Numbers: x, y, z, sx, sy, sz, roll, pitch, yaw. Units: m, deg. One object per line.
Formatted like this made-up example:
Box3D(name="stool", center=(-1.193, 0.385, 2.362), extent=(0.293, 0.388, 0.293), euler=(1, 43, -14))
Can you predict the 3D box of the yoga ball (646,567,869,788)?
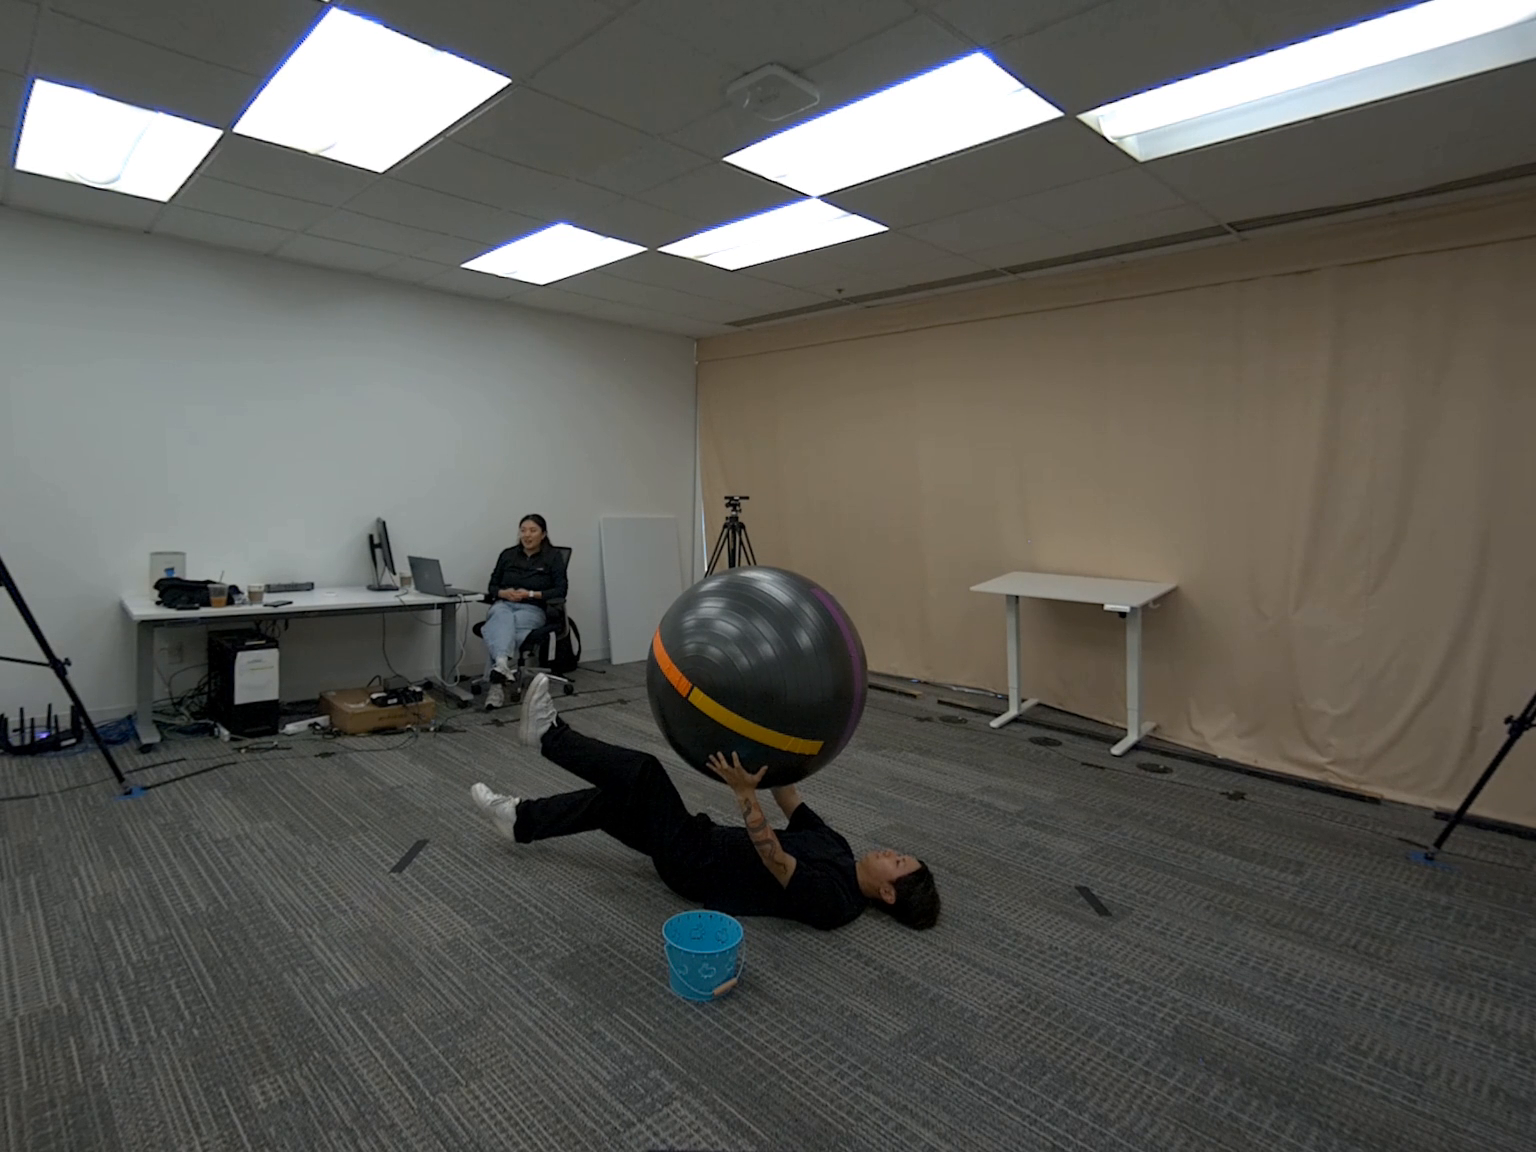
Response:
Box3D(name="yoga ball", center=(-0.038, 0.349, 2.909), extent=(0.757, 0.756, 0.761), euler=(1, 4, -1))
